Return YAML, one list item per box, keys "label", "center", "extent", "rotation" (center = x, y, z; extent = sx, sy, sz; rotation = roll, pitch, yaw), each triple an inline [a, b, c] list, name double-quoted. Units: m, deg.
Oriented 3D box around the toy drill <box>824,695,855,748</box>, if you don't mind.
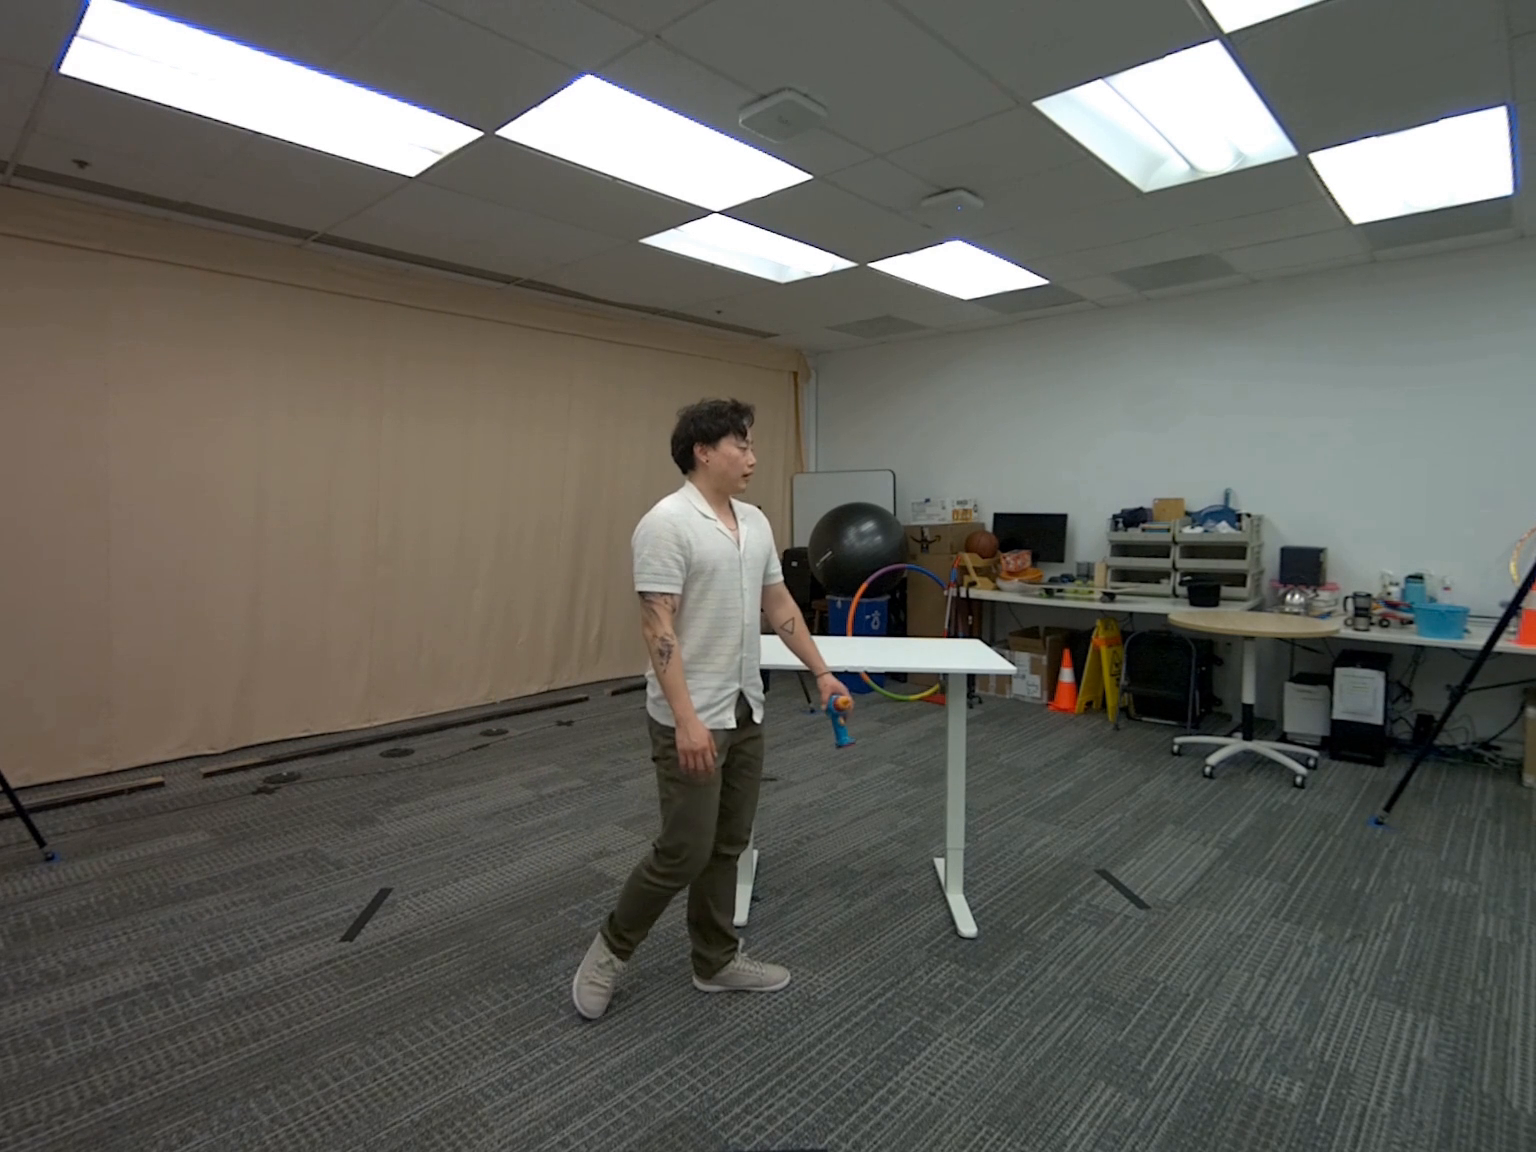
- label: "toy drill"
  center: [0.192, 0.409, 2.369]
  extent: [0.060, 0.148, 0.170]
  rotation: [-7, -14, -17]
